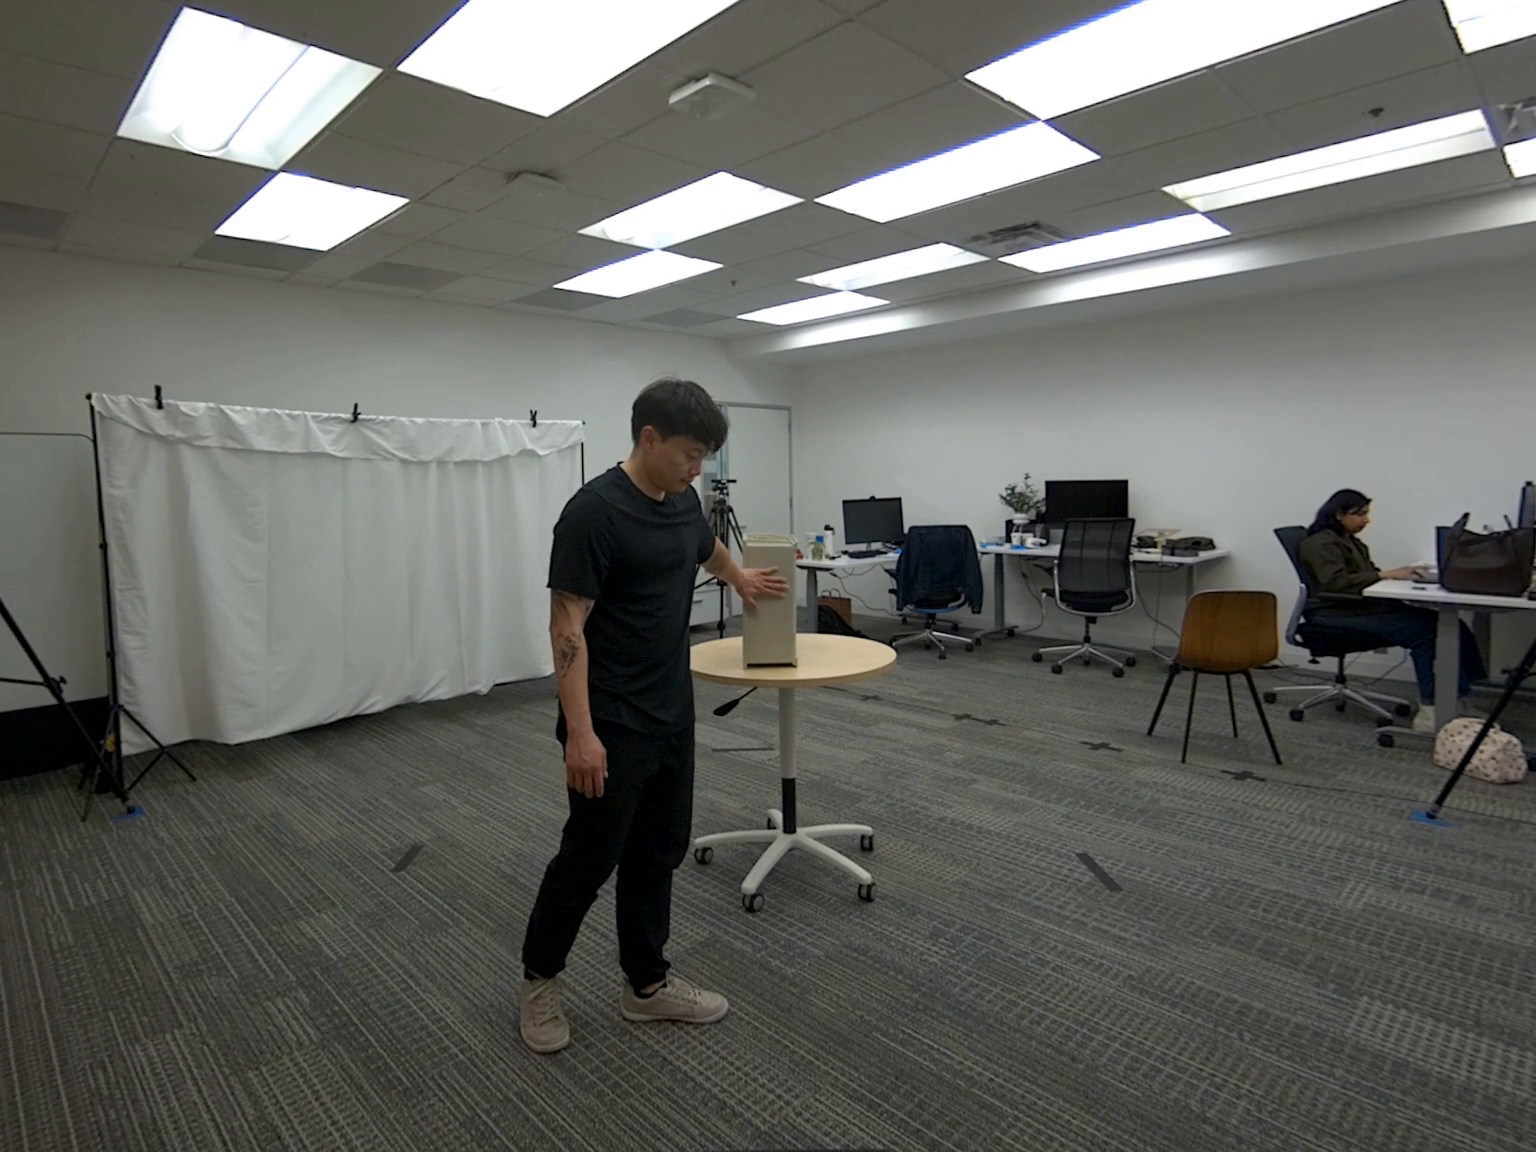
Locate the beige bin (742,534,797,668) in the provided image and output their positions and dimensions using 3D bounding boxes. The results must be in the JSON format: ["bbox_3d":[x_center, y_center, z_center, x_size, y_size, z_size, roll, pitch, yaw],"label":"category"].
[{"bbox_3d":[0.000,0.073,2.950,0.189,0.421,0.379,0,4,-2],"label":"beige bin"}]
